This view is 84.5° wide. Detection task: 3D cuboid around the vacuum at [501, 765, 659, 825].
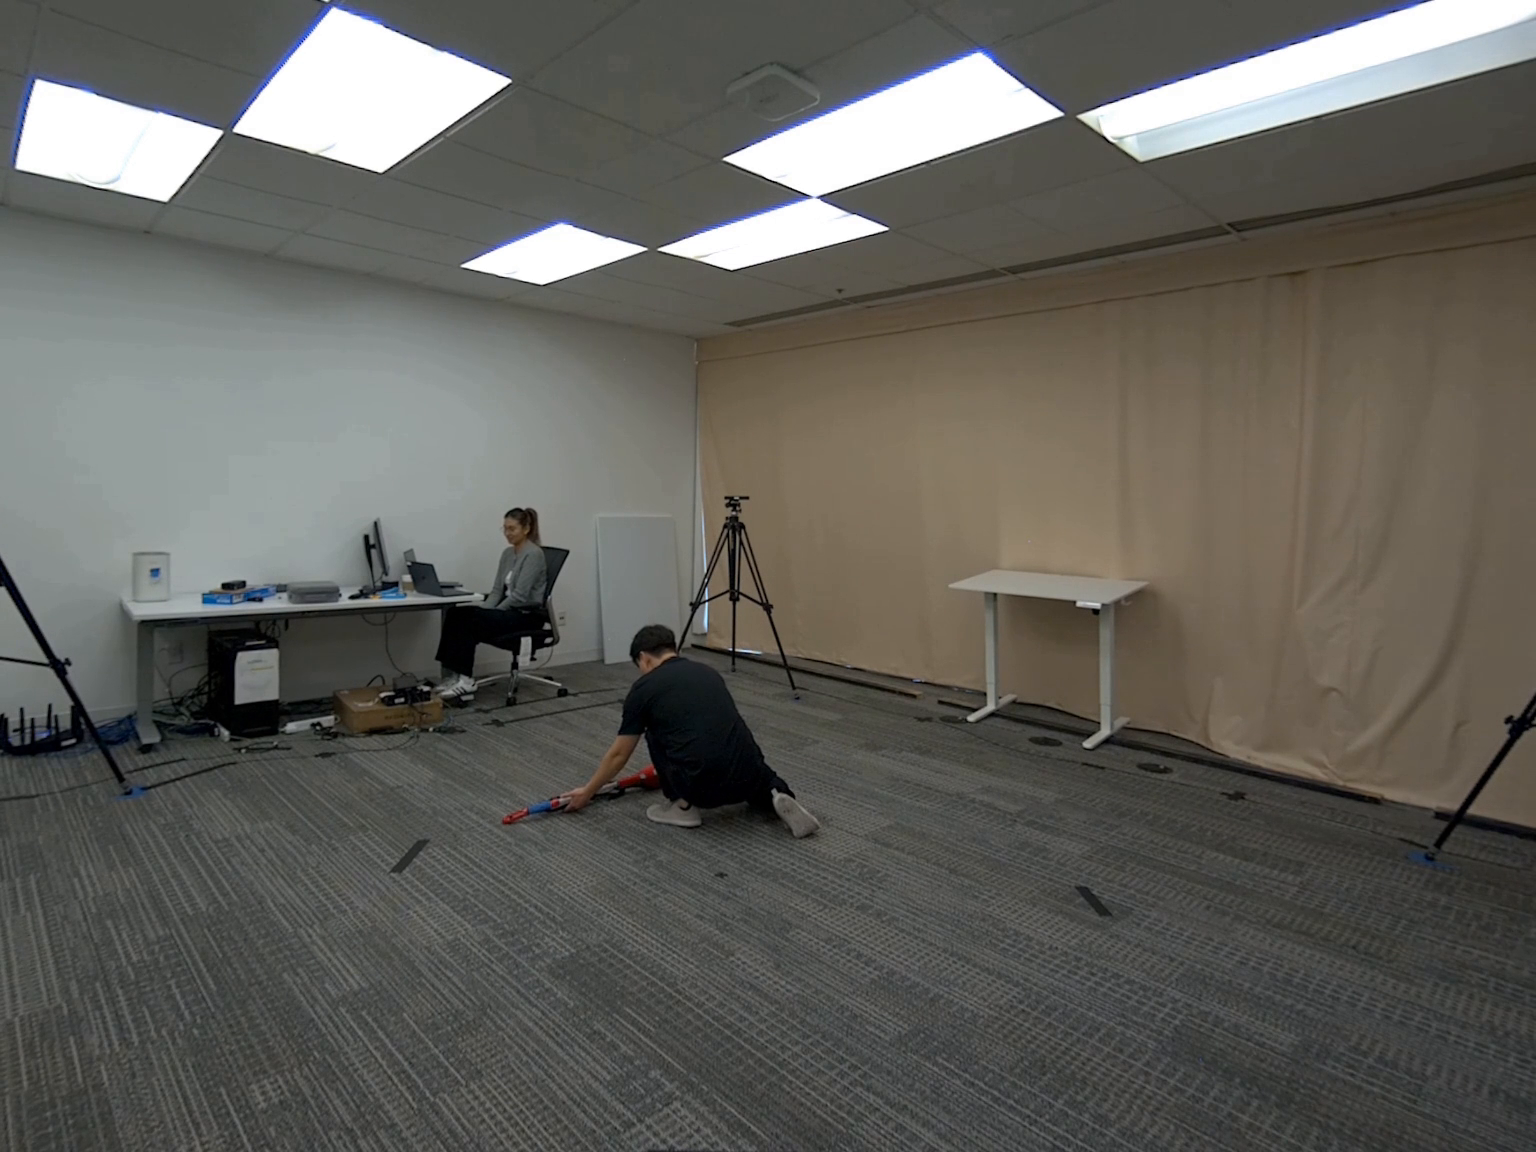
[{"bbox_3d":[-0.711,0.968,3.868,1.028,0.258,0.144,-9,-28,-38],"label":"vacuum"}]
